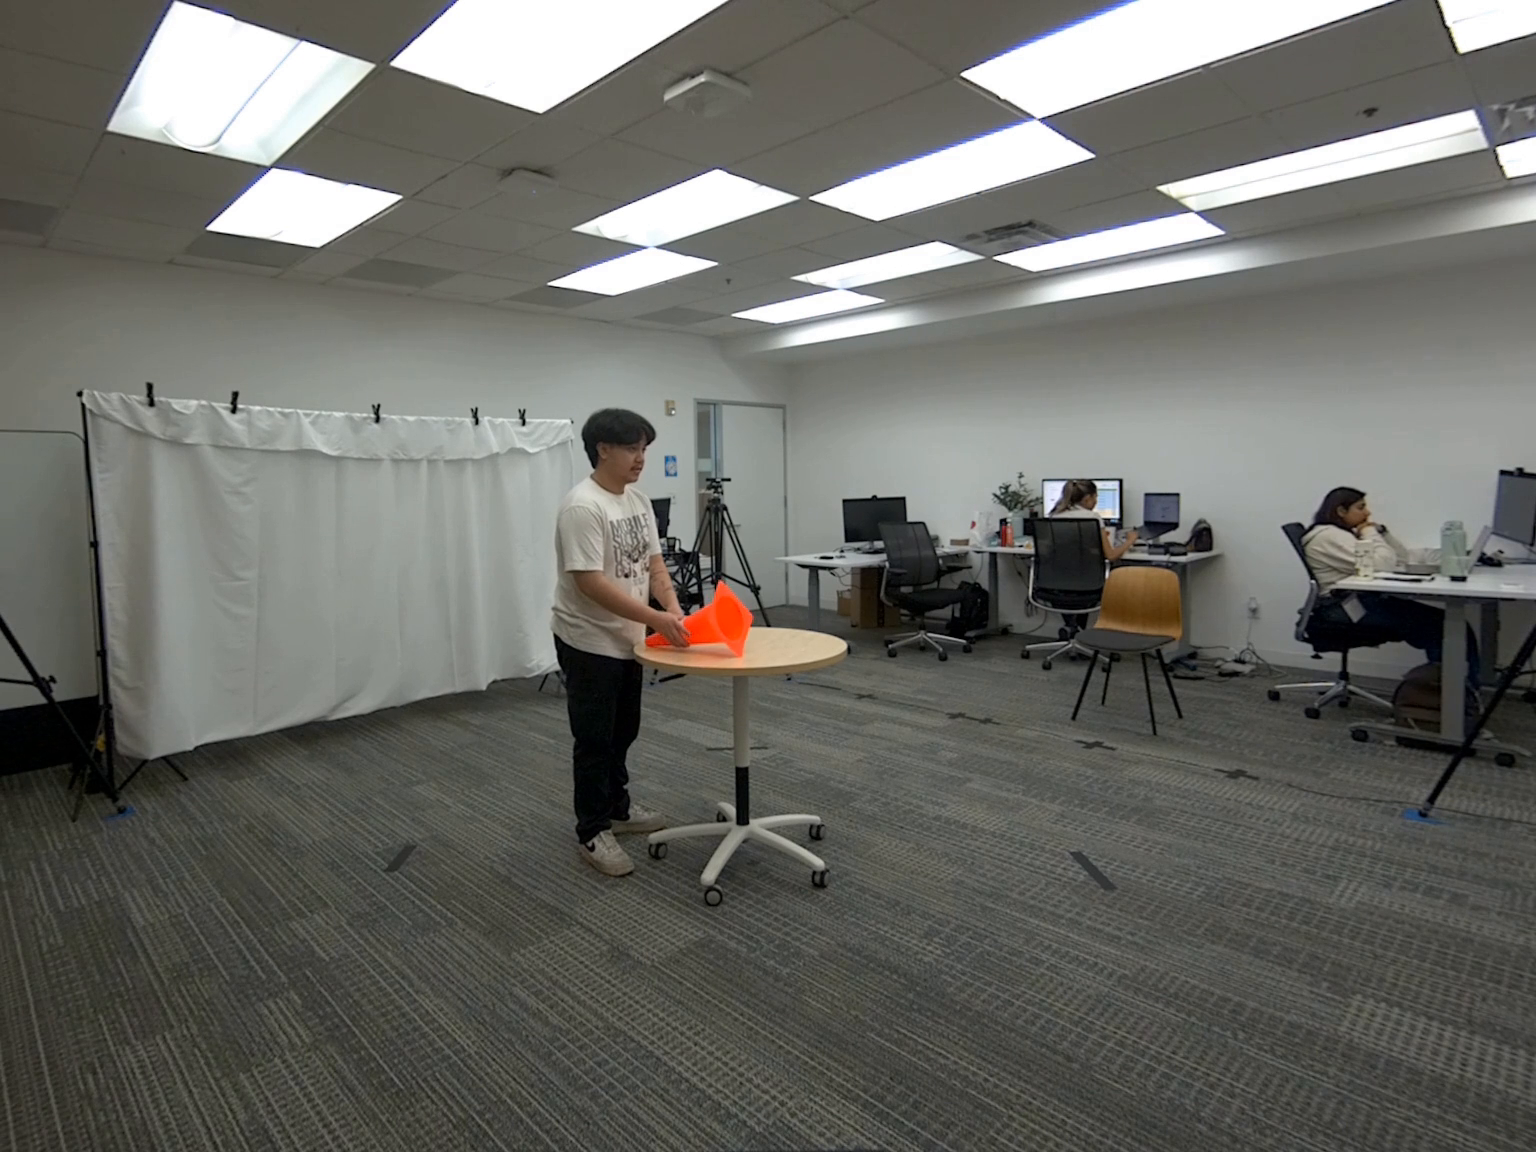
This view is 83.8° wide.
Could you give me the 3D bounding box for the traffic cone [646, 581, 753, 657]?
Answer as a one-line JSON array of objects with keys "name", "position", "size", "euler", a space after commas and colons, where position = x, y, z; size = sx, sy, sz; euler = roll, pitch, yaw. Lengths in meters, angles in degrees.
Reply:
[{"name": "traffic cone", "position": [-0.281, 0.192, 2.990], "size": [0.390, 0.197, 0.208], "euler": [-16, 34, 31]}]
